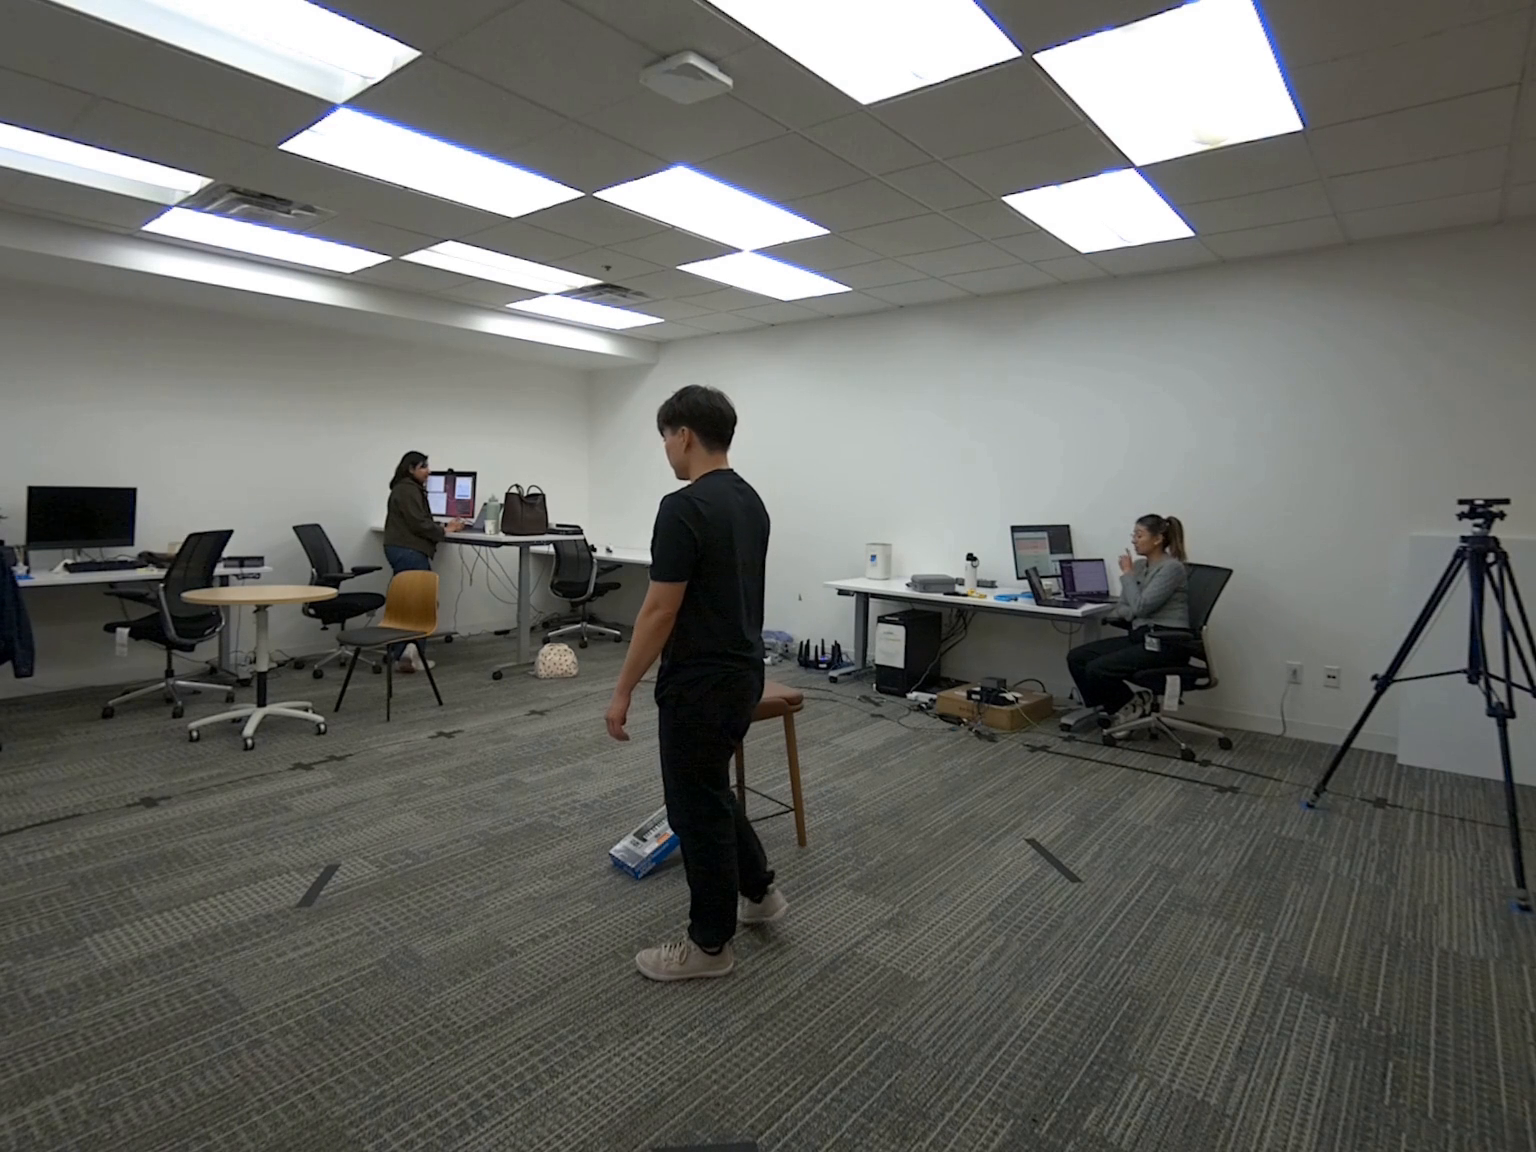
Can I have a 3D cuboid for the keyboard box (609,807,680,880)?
[{"bbox_3d":[-0.387,0.948,3.178,0.432,0.058,0.182,-33,25,-34],"label":"keyboard box"}]
